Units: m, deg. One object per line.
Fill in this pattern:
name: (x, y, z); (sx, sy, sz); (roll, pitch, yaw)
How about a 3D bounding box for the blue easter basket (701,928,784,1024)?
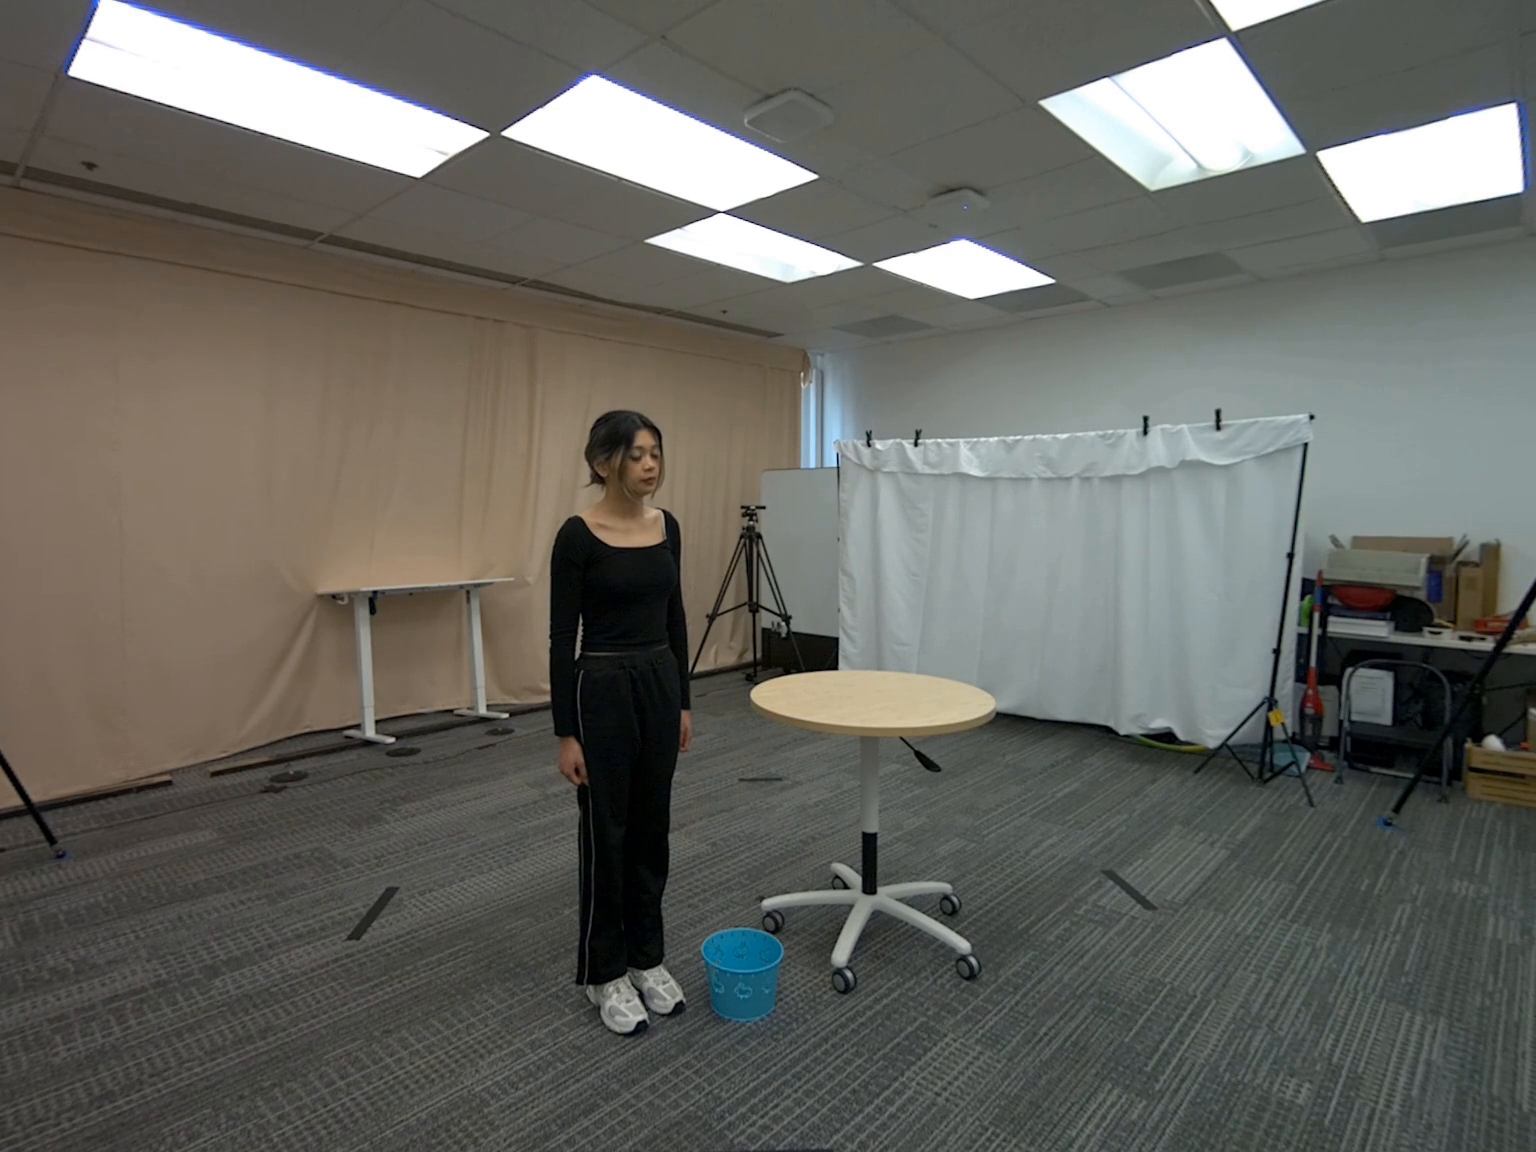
blue easter basket: (-0.069, 1.125, 2.352); (0.243, 0.155, 0.244); (0, 4, -2)
